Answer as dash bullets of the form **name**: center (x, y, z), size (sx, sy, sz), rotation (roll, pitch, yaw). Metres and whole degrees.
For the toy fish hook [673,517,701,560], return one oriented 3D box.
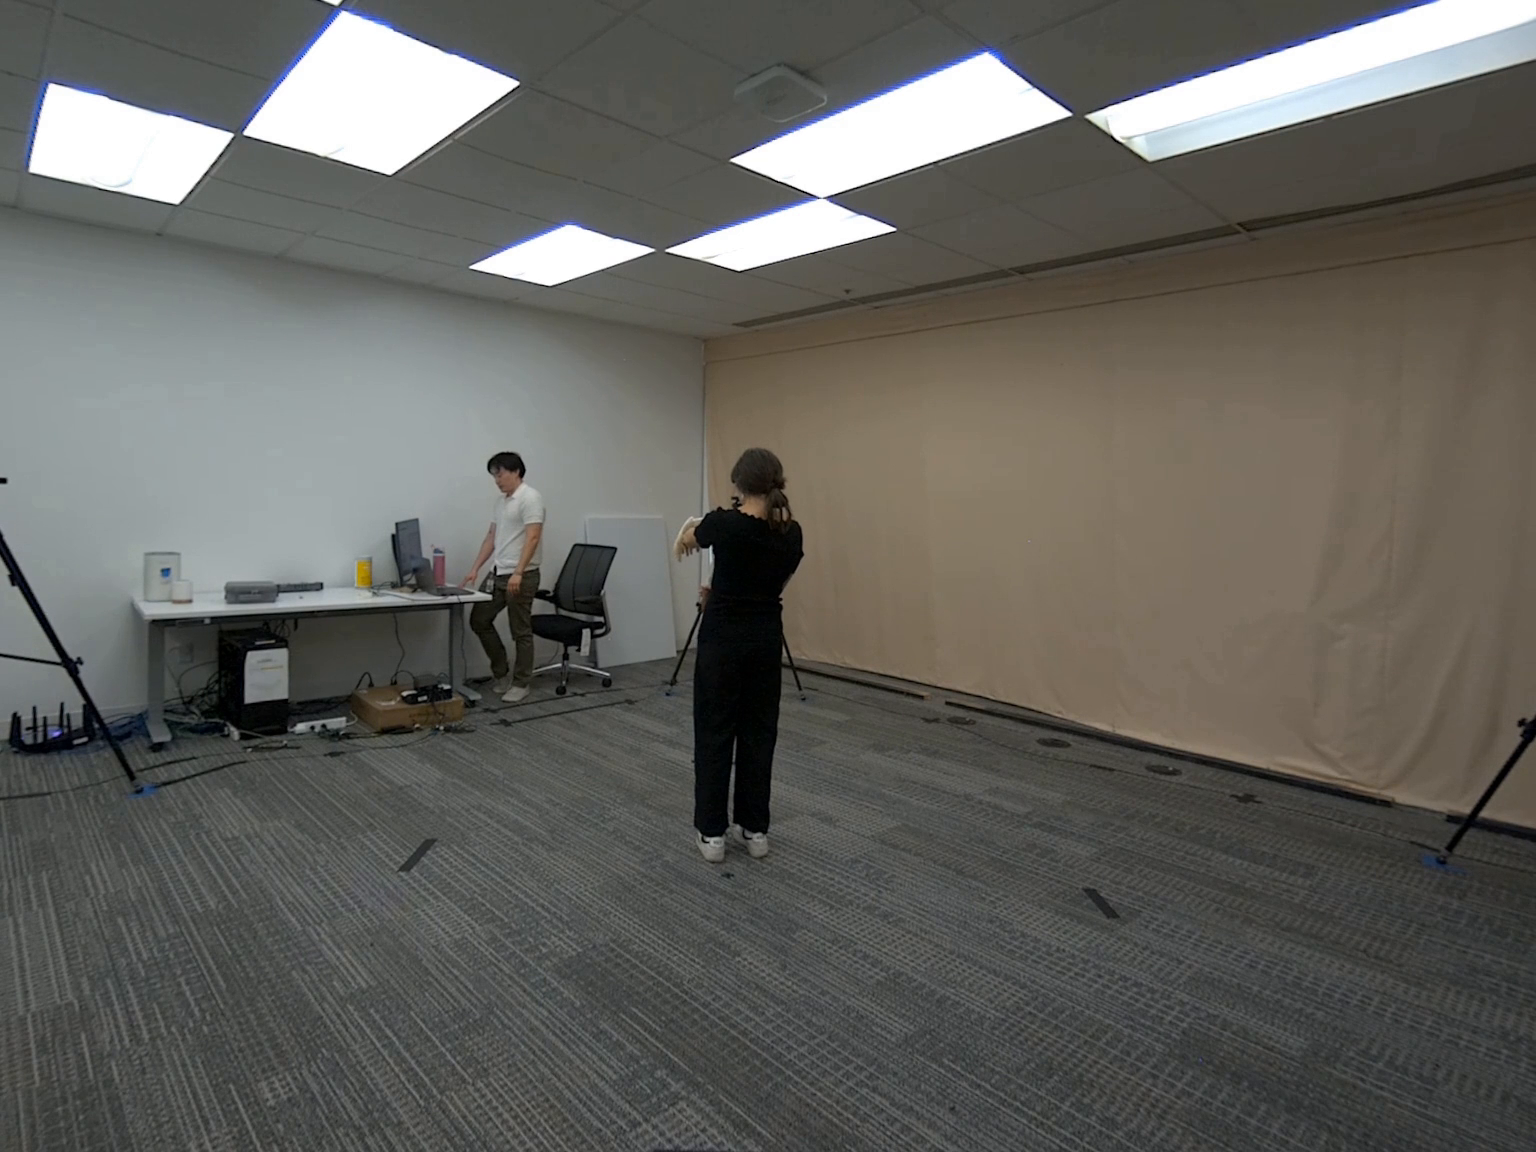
- **toy fish hook**: center (-0.314, 0.007, 3.621), size (0.222, 0.507, 0.049), rotation (3, -1, -14)
